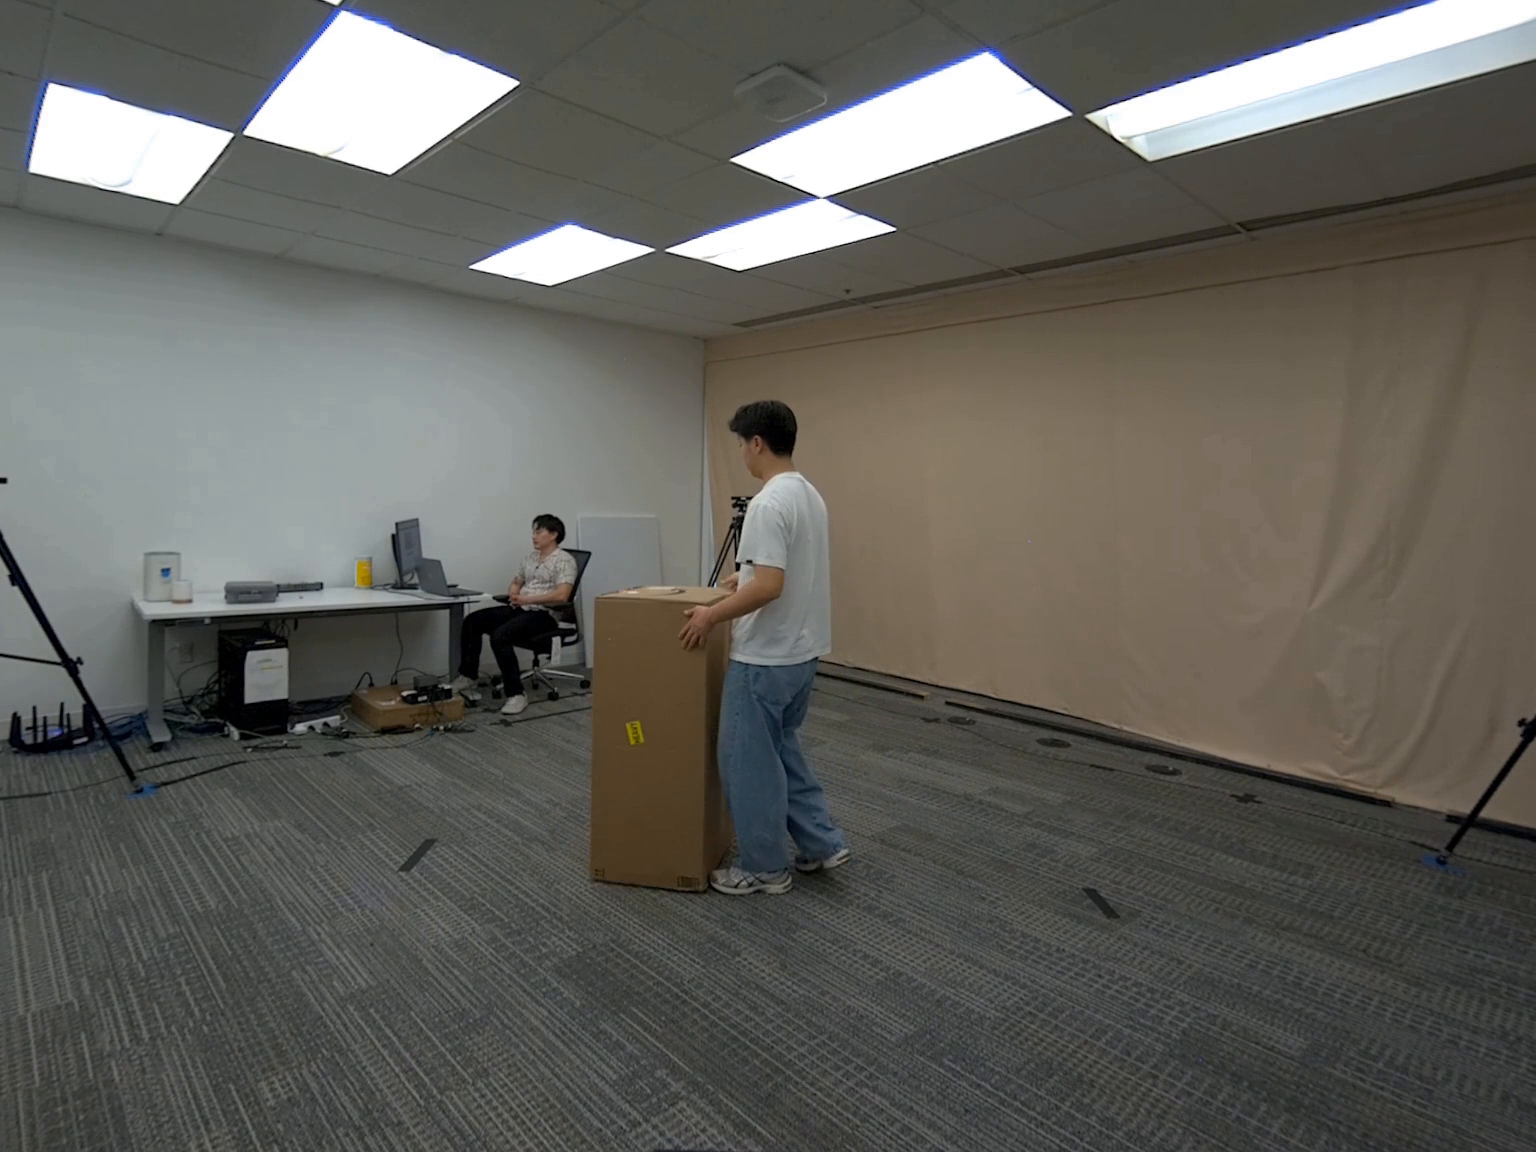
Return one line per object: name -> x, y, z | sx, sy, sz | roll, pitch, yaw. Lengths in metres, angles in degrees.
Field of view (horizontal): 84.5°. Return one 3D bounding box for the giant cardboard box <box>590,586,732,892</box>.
giant cardboard box -> -0.388, 0.571, 3.252 | 0.431, 1.024, 0.572 | 2, 2, 12
